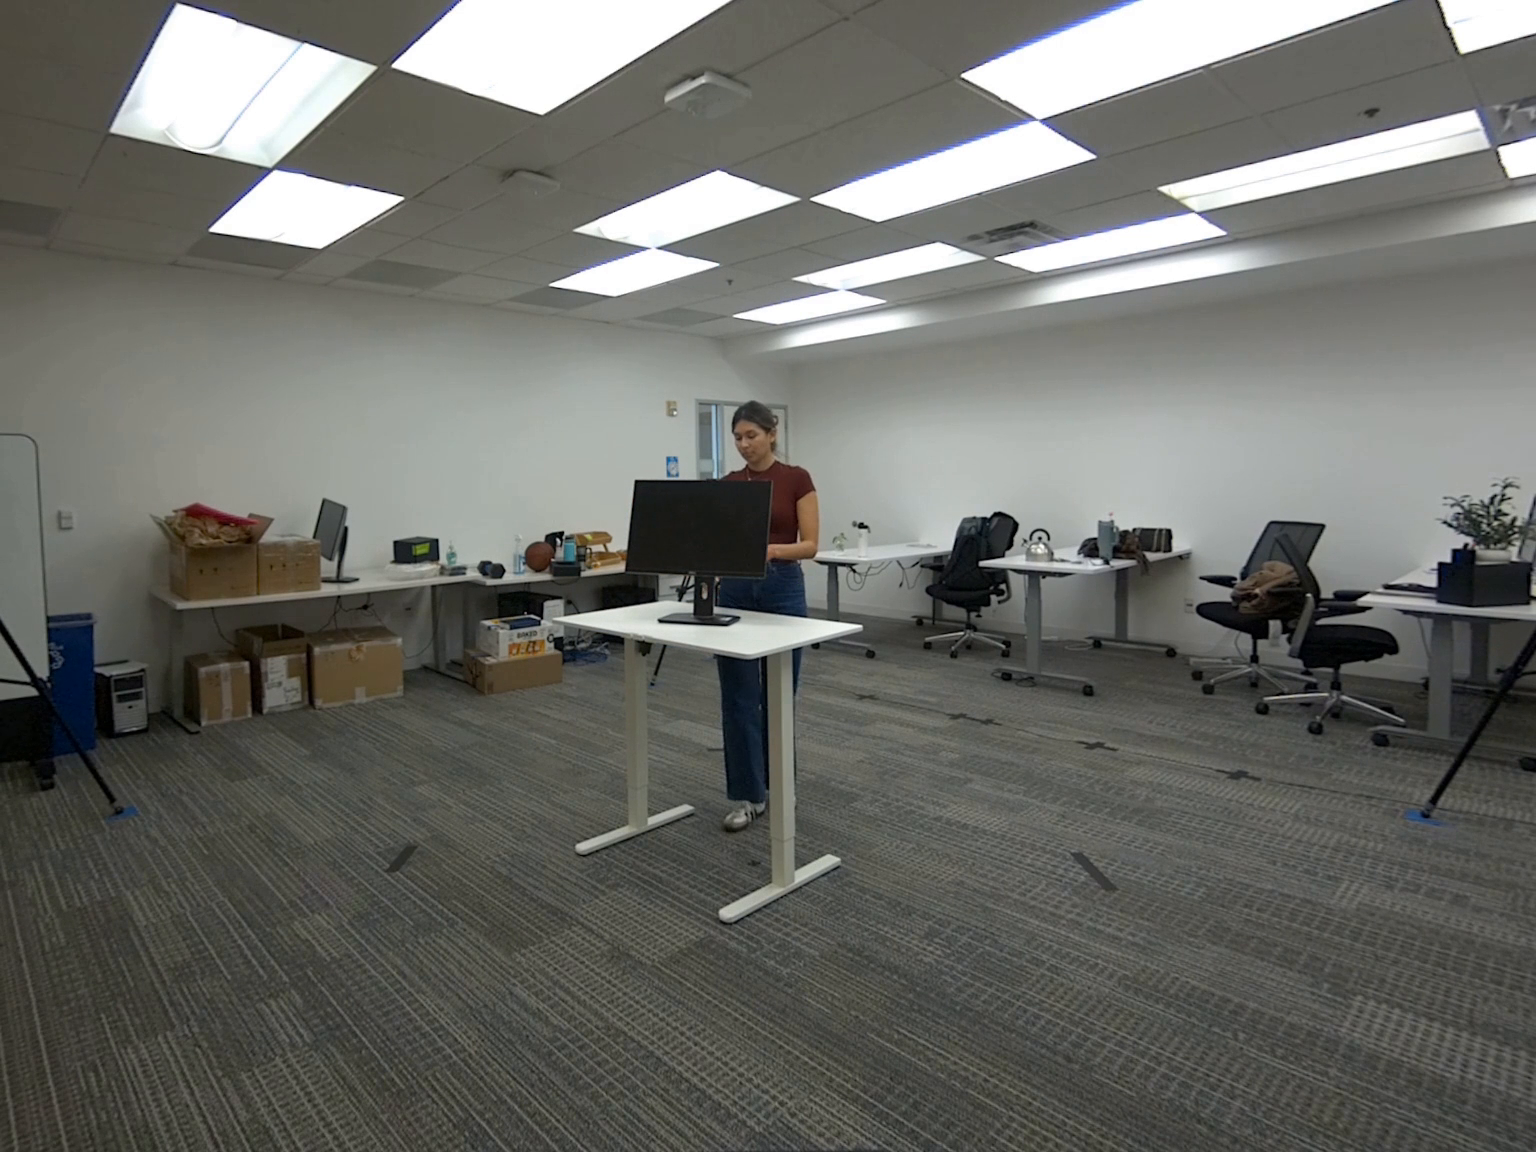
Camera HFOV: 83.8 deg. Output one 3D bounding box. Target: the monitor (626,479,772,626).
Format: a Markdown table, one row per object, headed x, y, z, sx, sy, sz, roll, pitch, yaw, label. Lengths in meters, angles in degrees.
| x | y | z | sx | sy | sz | roll | pitch | yaw | label |
| --- | --- | --- | --- | --- | --- | --- | --- | --- | --- |
| -0.243 | -0.089 | 3.116 | 0.548 | 0.521 | 0.185 | 2 | 4 | 16 | monitor |
